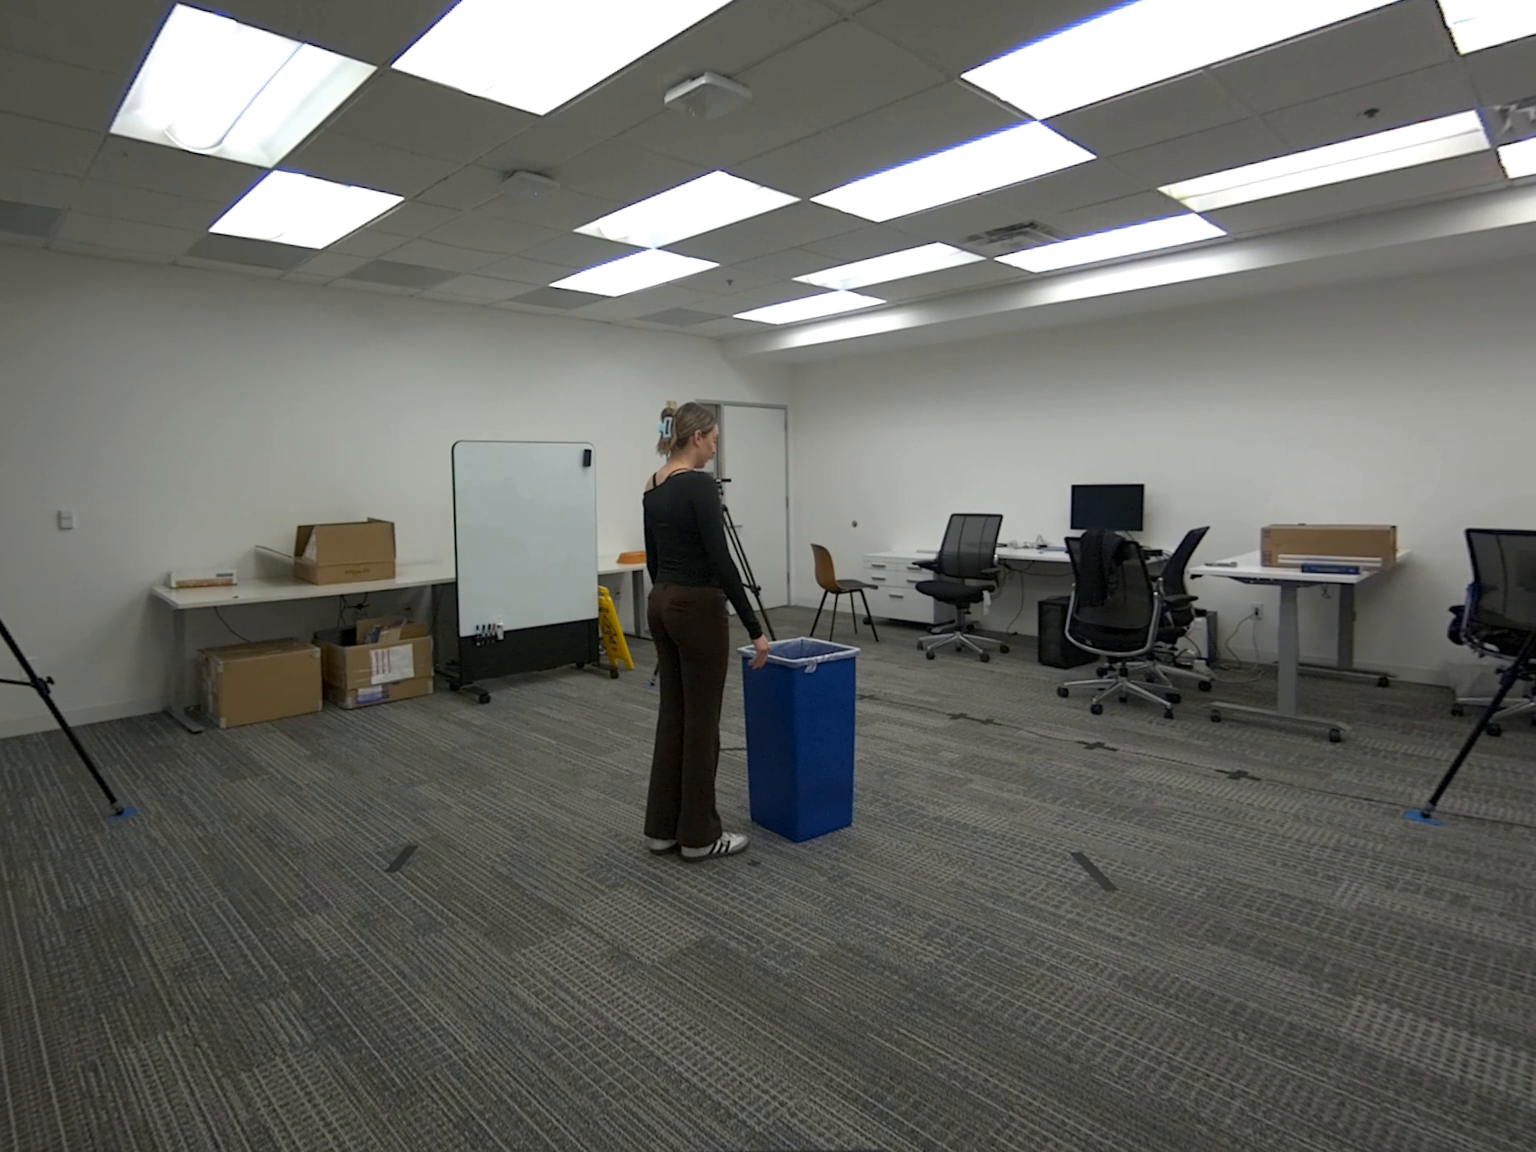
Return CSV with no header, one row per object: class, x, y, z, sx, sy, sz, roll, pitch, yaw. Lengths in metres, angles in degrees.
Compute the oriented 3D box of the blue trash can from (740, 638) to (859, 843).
blue trash can,0.123,0.645,3.457,0.368,0.711,0.385,-4,5,-38
